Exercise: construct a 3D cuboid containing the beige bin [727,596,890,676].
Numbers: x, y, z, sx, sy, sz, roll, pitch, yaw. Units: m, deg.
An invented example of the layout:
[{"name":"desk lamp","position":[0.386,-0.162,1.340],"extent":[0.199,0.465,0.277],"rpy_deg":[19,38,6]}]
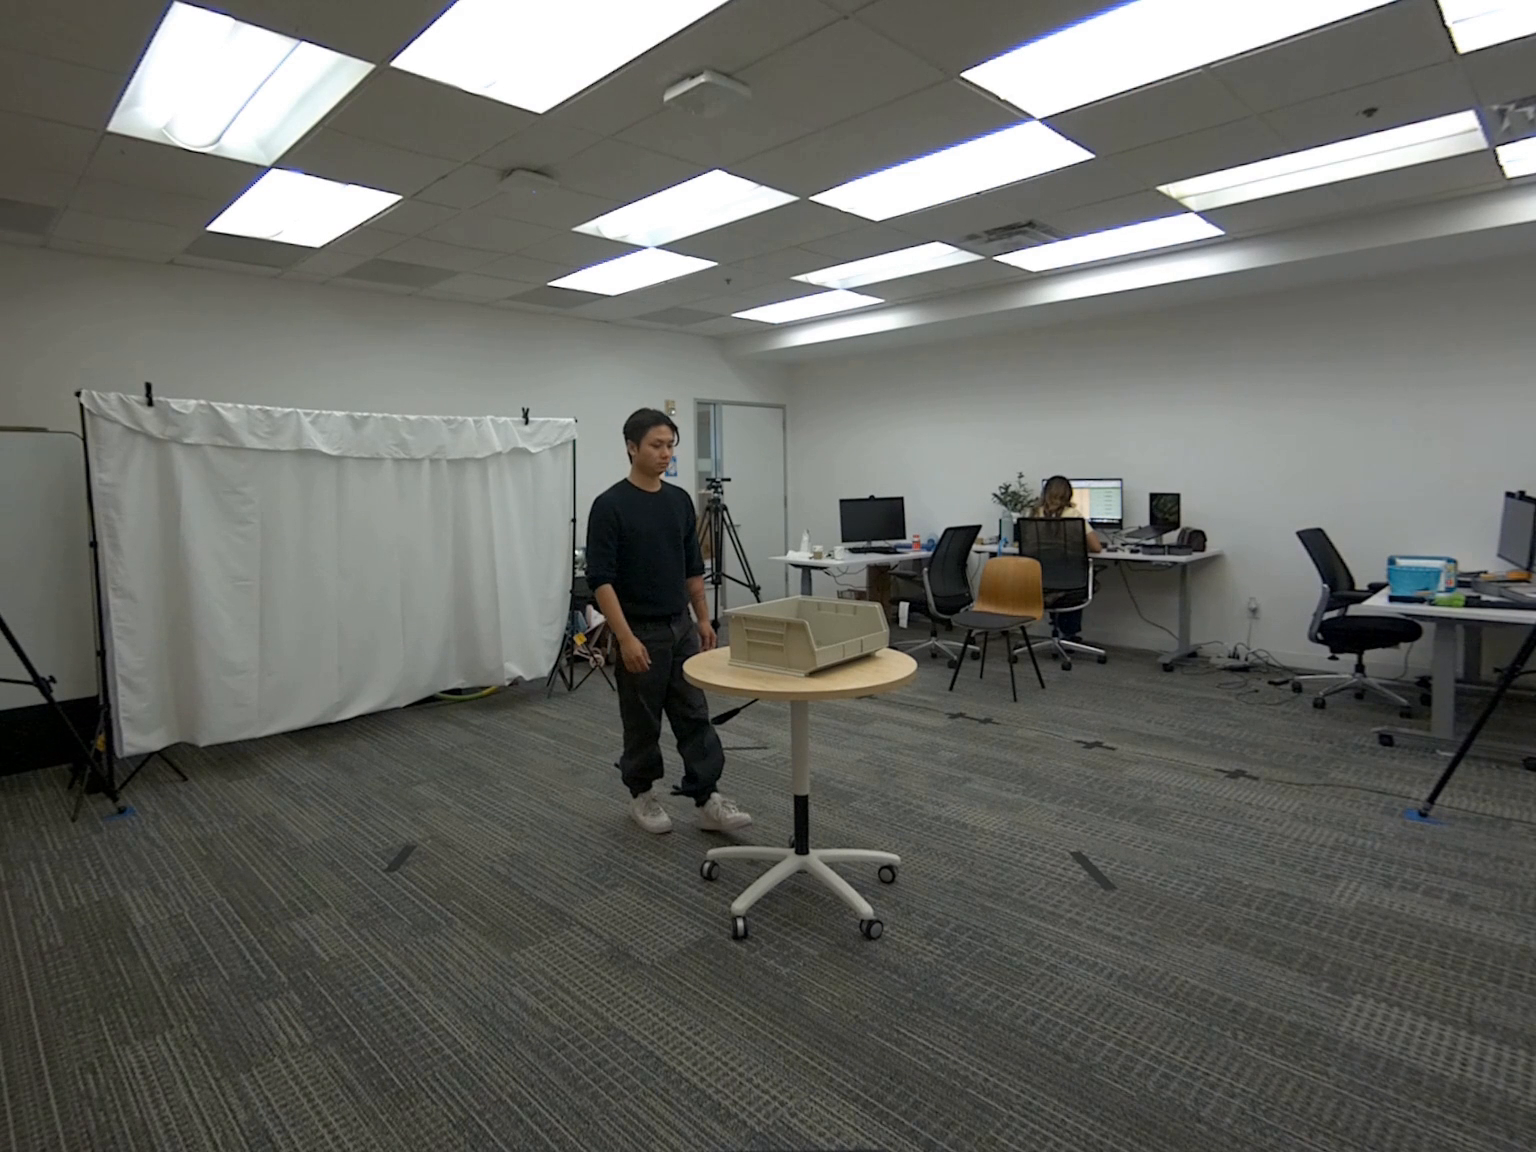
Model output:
[{"name":"beige bin","position":[0.124,0.193,2.851],"extent":[0.388,0.188,0.412],"rpy_deg":[2,8,40]}]
